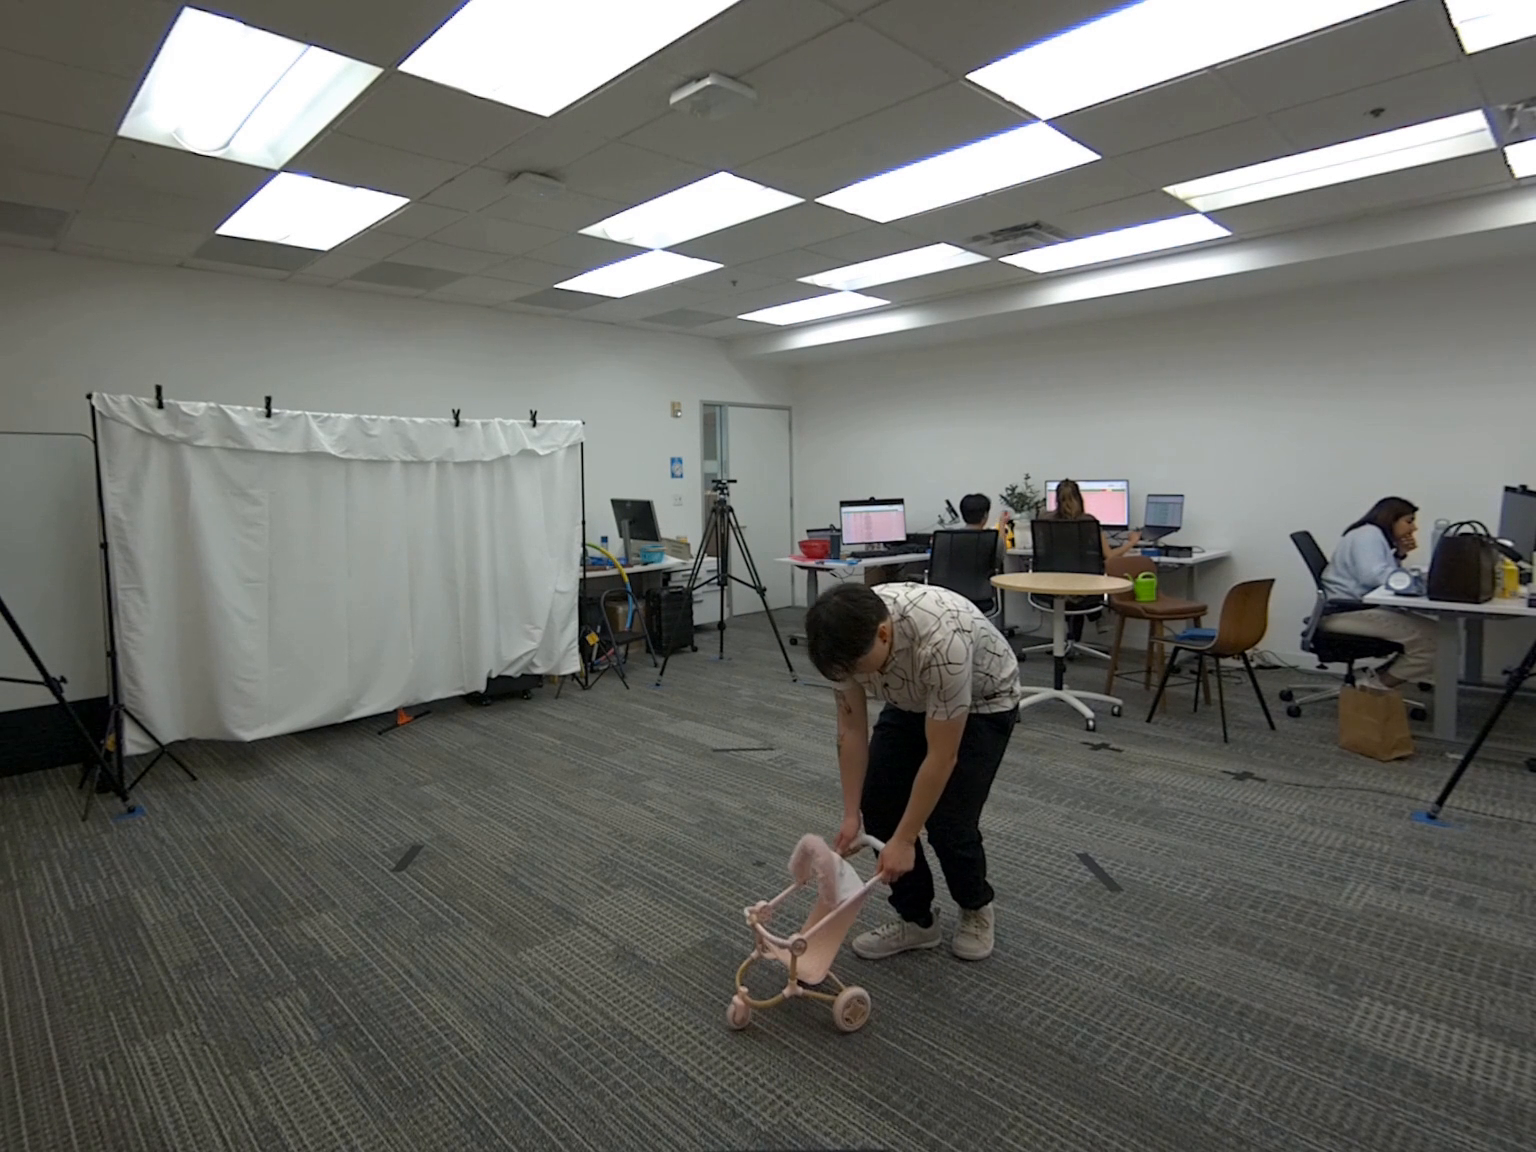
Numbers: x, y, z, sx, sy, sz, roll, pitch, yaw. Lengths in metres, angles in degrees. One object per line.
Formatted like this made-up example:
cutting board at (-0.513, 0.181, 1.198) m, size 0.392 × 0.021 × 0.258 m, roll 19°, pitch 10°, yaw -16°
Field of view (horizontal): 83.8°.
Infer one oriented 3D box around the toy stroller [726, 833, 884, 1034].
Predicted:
toy stroller at (0.111, 0.925, 2.250) m, size 0.333 × 0.536 × 0.287 m, roll 18°, pitch -4°, yaw -21°
